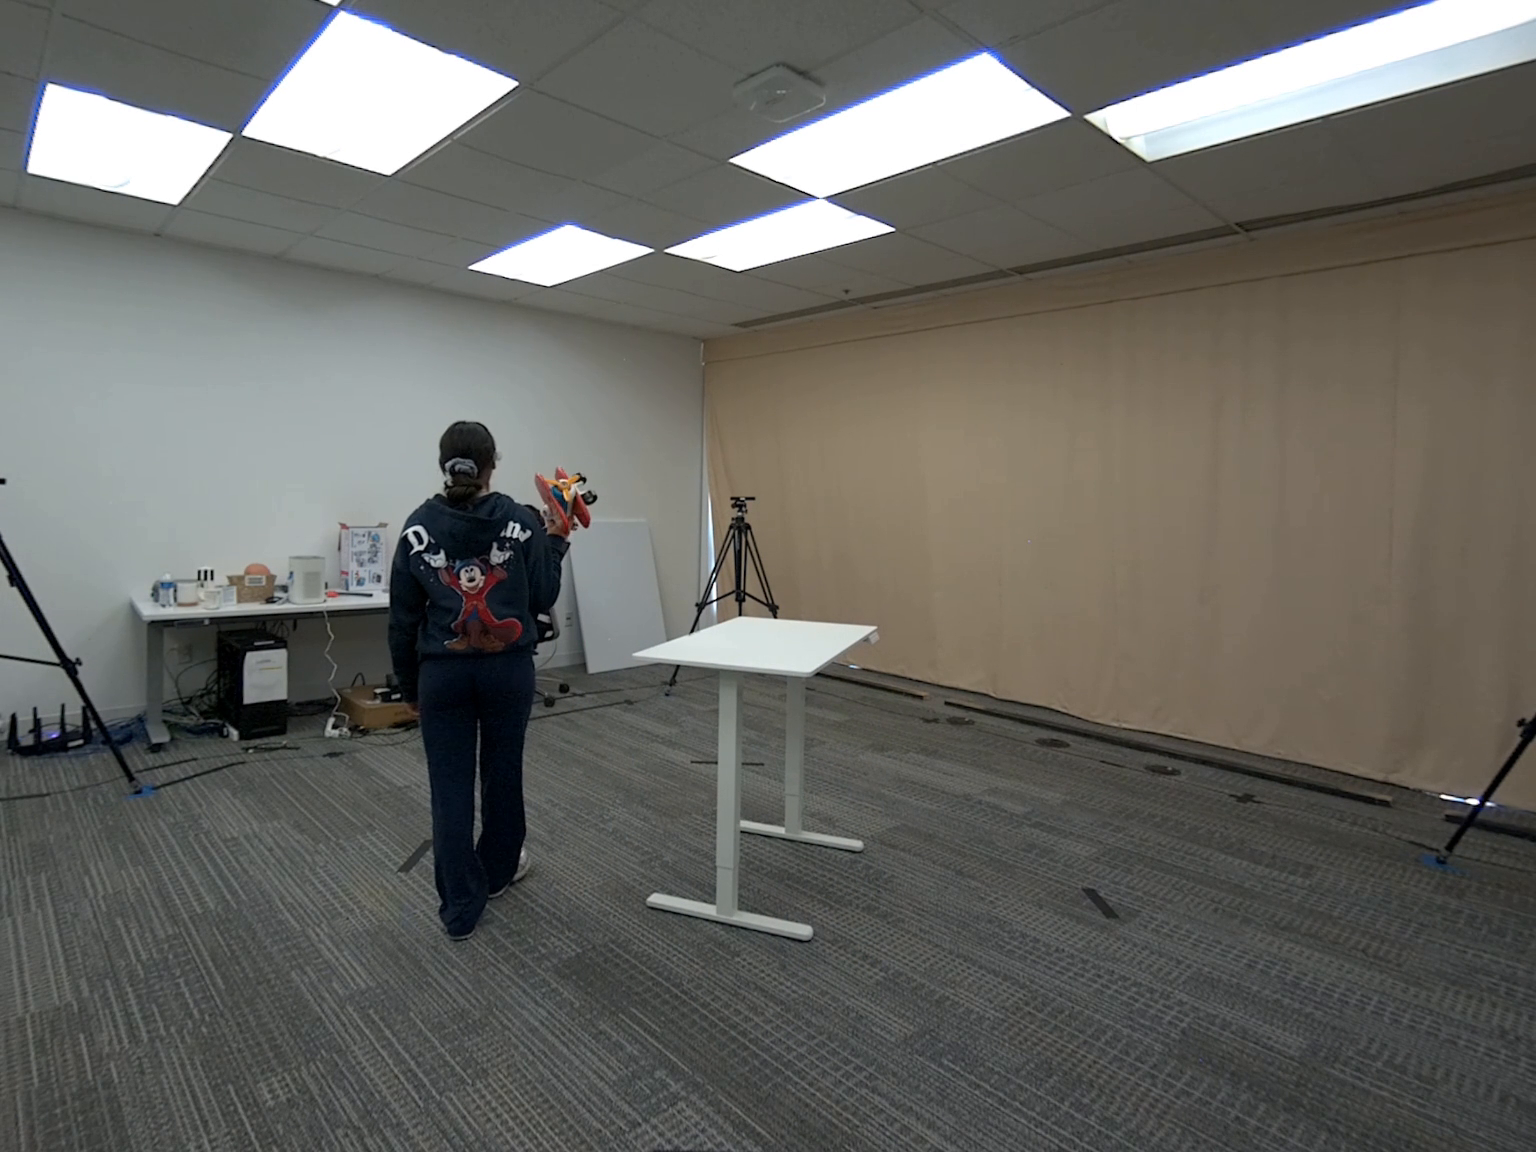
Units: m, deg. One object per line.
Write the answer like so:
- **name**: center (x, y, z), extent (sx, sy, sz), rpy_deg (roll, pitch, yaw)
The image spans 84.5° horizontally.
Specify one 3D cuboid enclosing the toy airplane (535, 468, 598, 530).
- **toy airplane**: center (-0.712, -0.232, 2.940), extent (0.153, 0.256, 0.259), rpy_deg (-12, 31, -42)
